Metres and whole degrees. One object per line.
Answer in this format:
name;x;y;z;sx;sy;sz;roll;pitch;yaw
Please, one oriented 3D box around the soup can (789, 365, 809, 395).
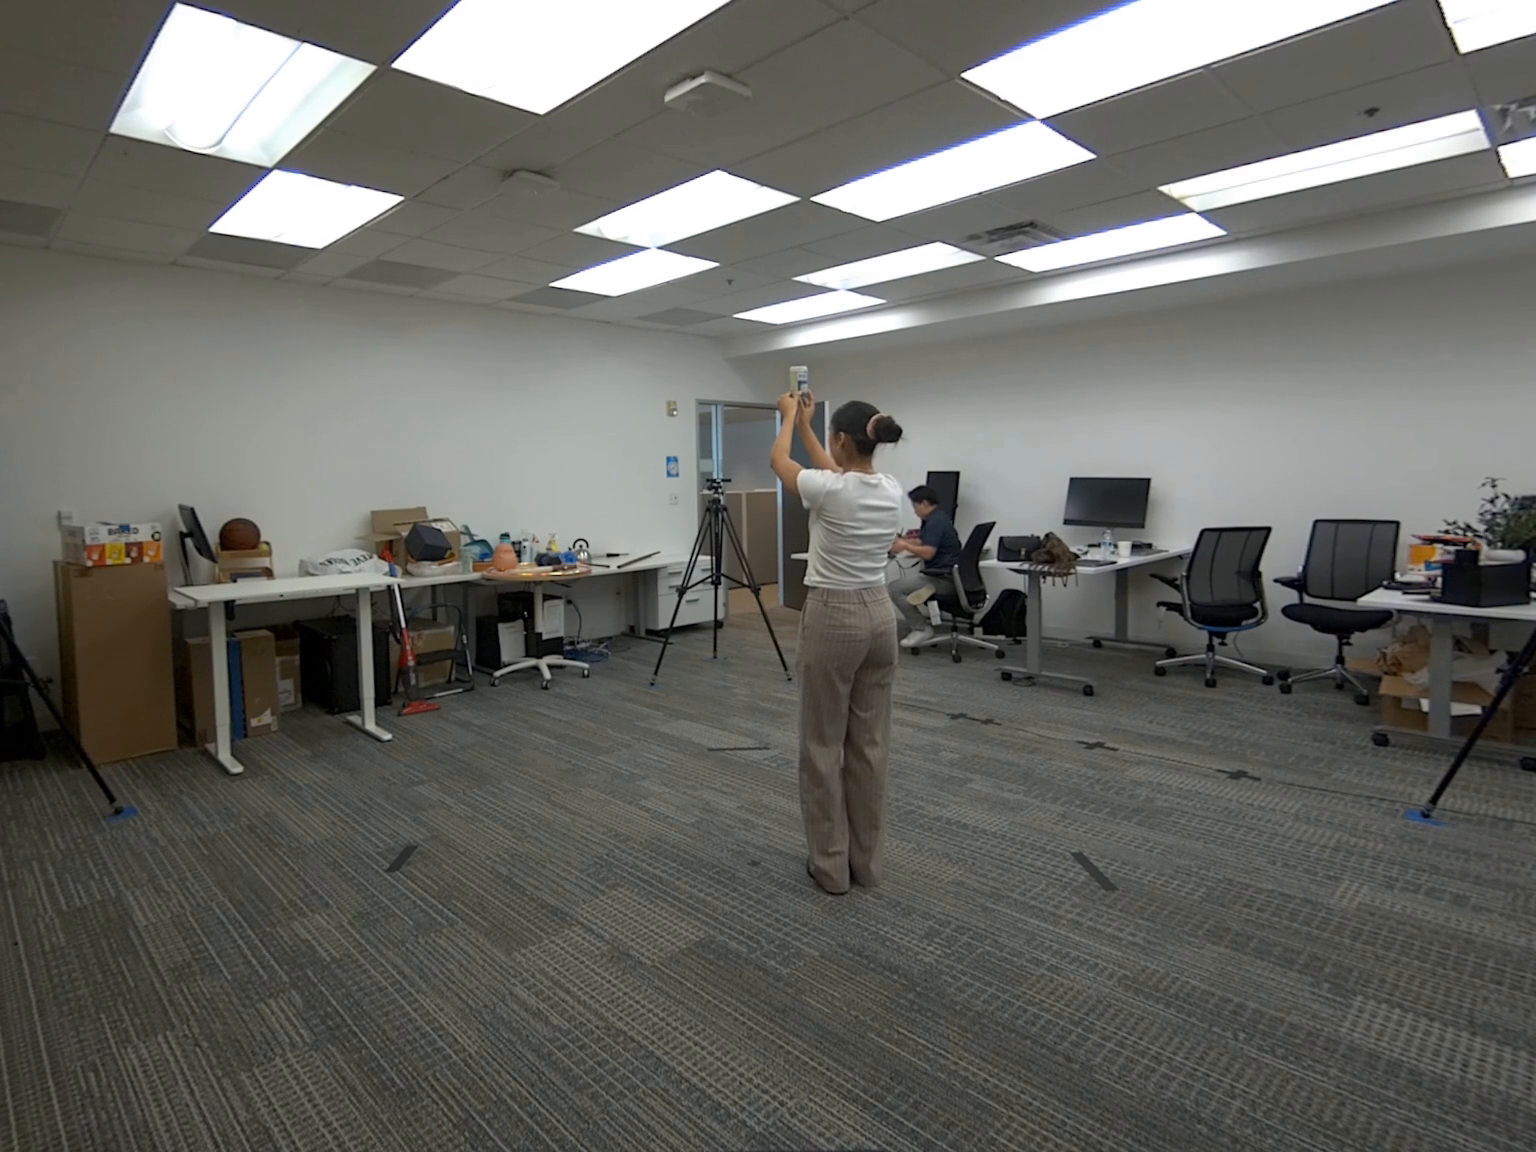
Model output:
soup can;0.120;-0.742;3.266;0.067;0.121;0.067;-4;7;-1
